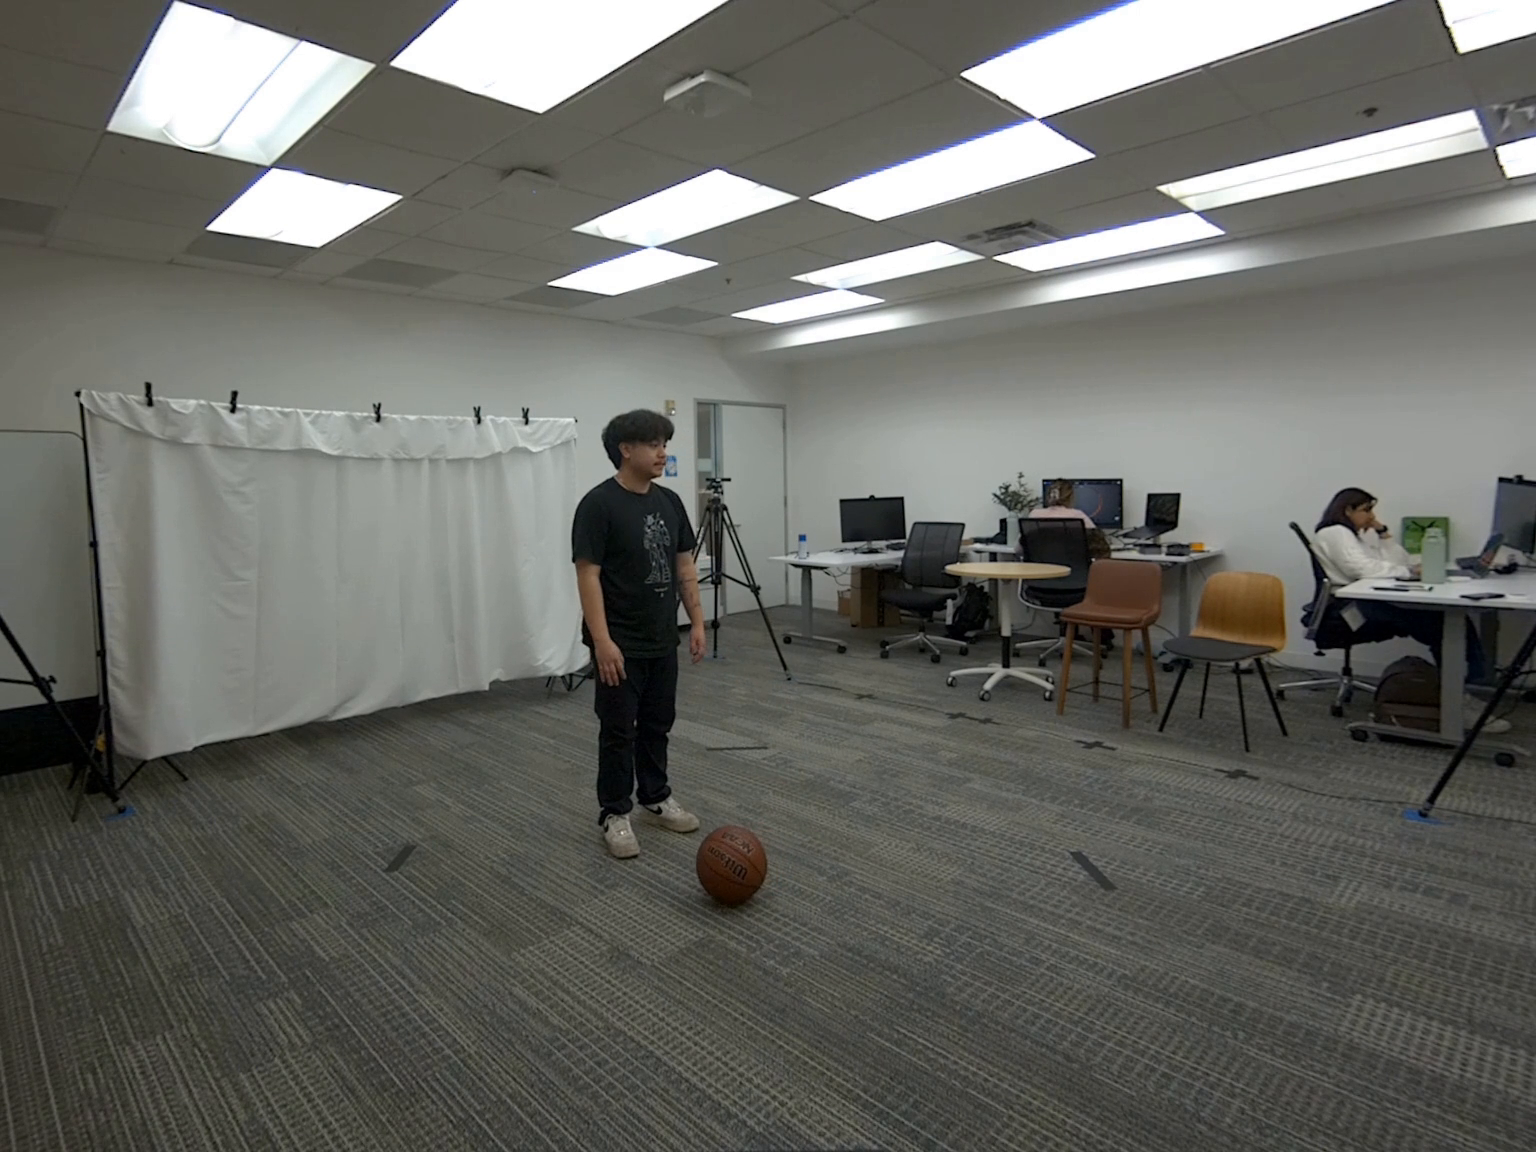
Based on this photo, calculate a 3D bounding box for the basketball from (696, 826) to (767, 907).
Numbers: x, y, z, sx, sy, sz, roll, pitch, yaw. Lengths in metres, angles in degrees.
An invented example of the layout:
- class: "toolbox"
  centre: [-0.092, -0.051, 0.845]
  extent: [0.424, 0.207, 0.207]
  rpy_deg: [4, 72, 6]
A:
- class: "basketball"
  centre: [-0.117, 0.952, 2.842]
  extent: [0.236, 0.235, 0.237]
  rpy_deg: [-1, 5, -2]
